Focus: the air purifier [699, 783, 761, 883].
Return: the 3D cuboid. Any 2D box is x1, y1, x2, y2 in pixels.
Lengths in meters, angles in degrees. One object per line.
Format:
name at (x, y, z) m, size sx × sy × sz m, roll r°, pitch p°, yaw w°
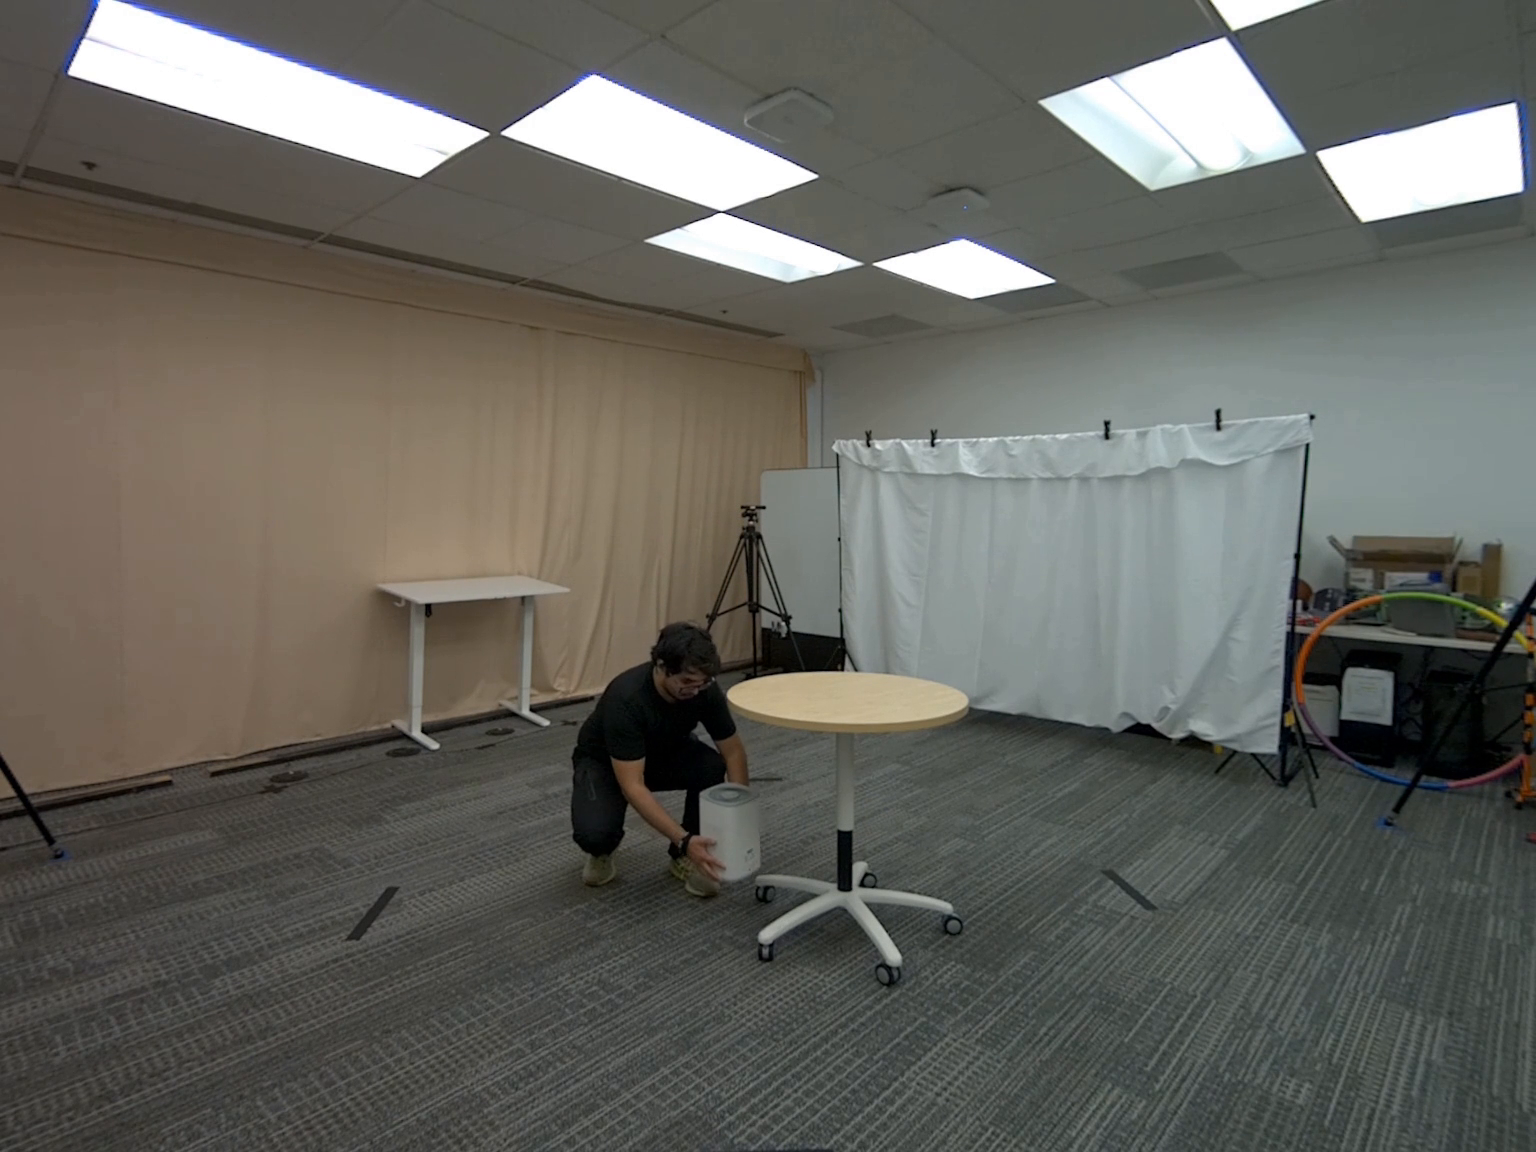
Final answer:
air purifier at (-0.126, 0.842, 2.761) m, size 0.177 × 0.264 × 0.166 m, roll 4°, pitch 7°, yaw 41°
